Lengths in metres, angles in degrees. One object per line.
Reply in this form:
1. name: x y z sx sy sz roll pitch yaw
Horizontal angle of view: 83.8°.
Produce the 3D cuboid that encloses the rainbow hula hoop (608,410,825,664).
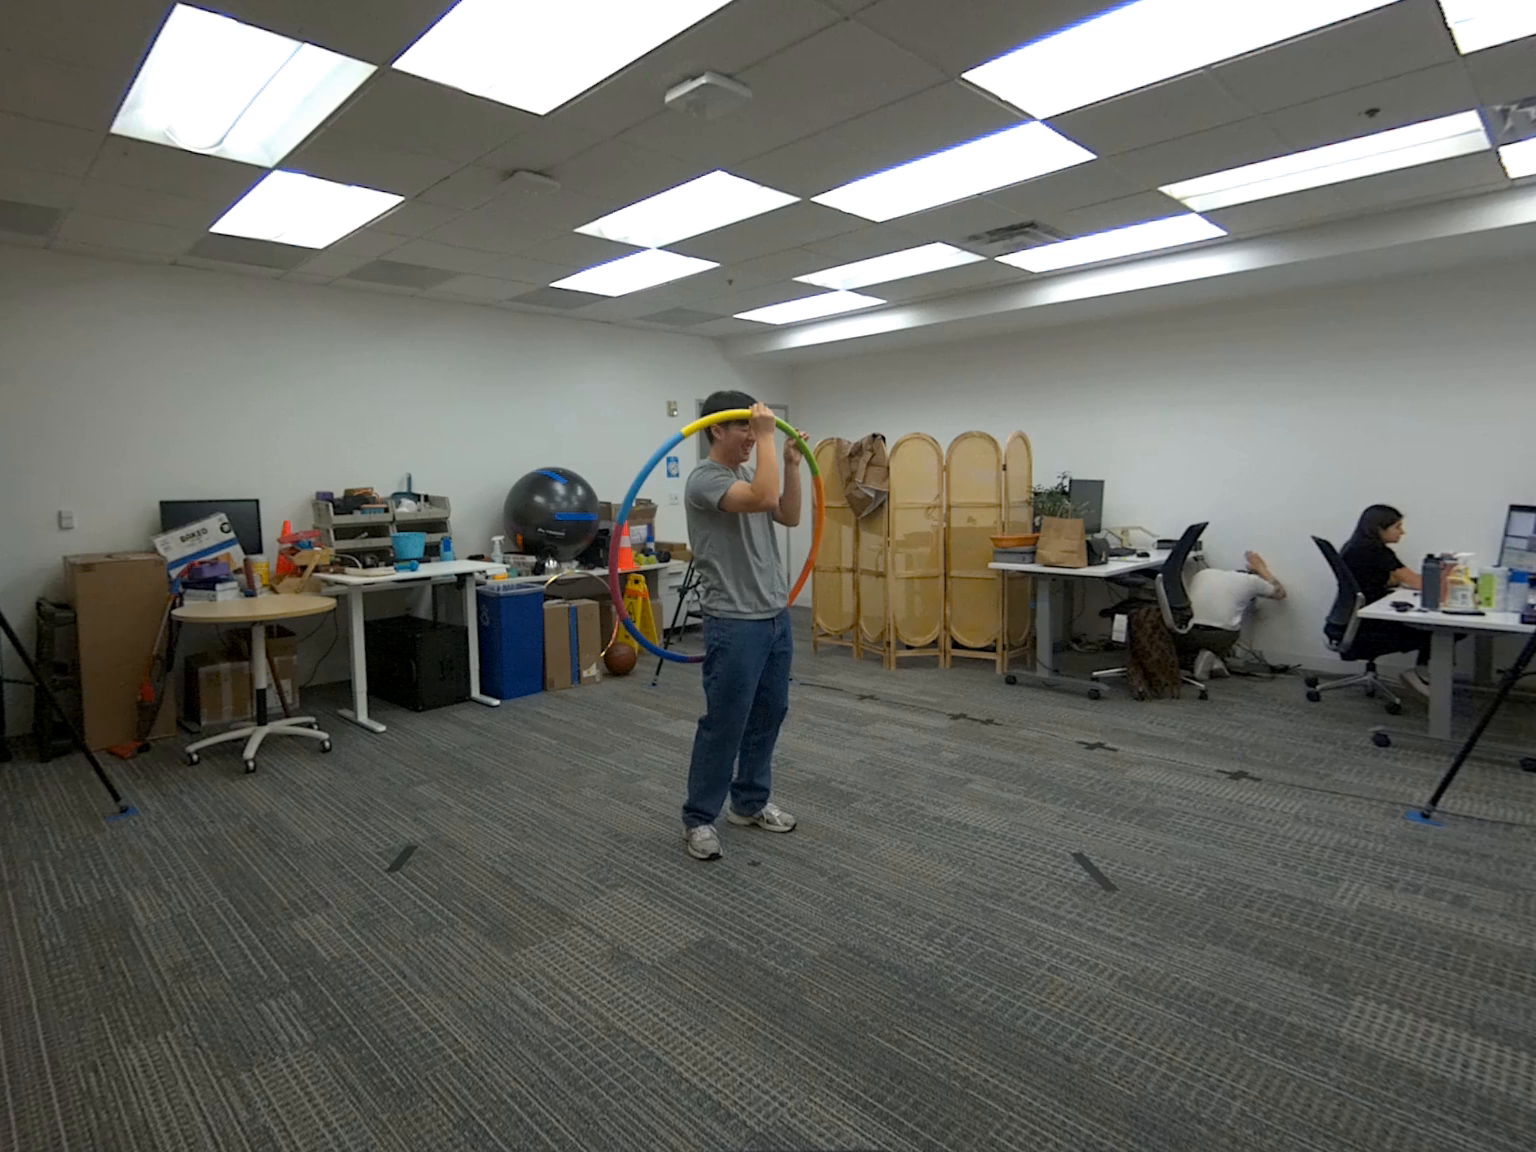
1. rainbow hula hoop: -0.159 -0.124 3.218 0.953 0.967 0.037 -4 22 -38
